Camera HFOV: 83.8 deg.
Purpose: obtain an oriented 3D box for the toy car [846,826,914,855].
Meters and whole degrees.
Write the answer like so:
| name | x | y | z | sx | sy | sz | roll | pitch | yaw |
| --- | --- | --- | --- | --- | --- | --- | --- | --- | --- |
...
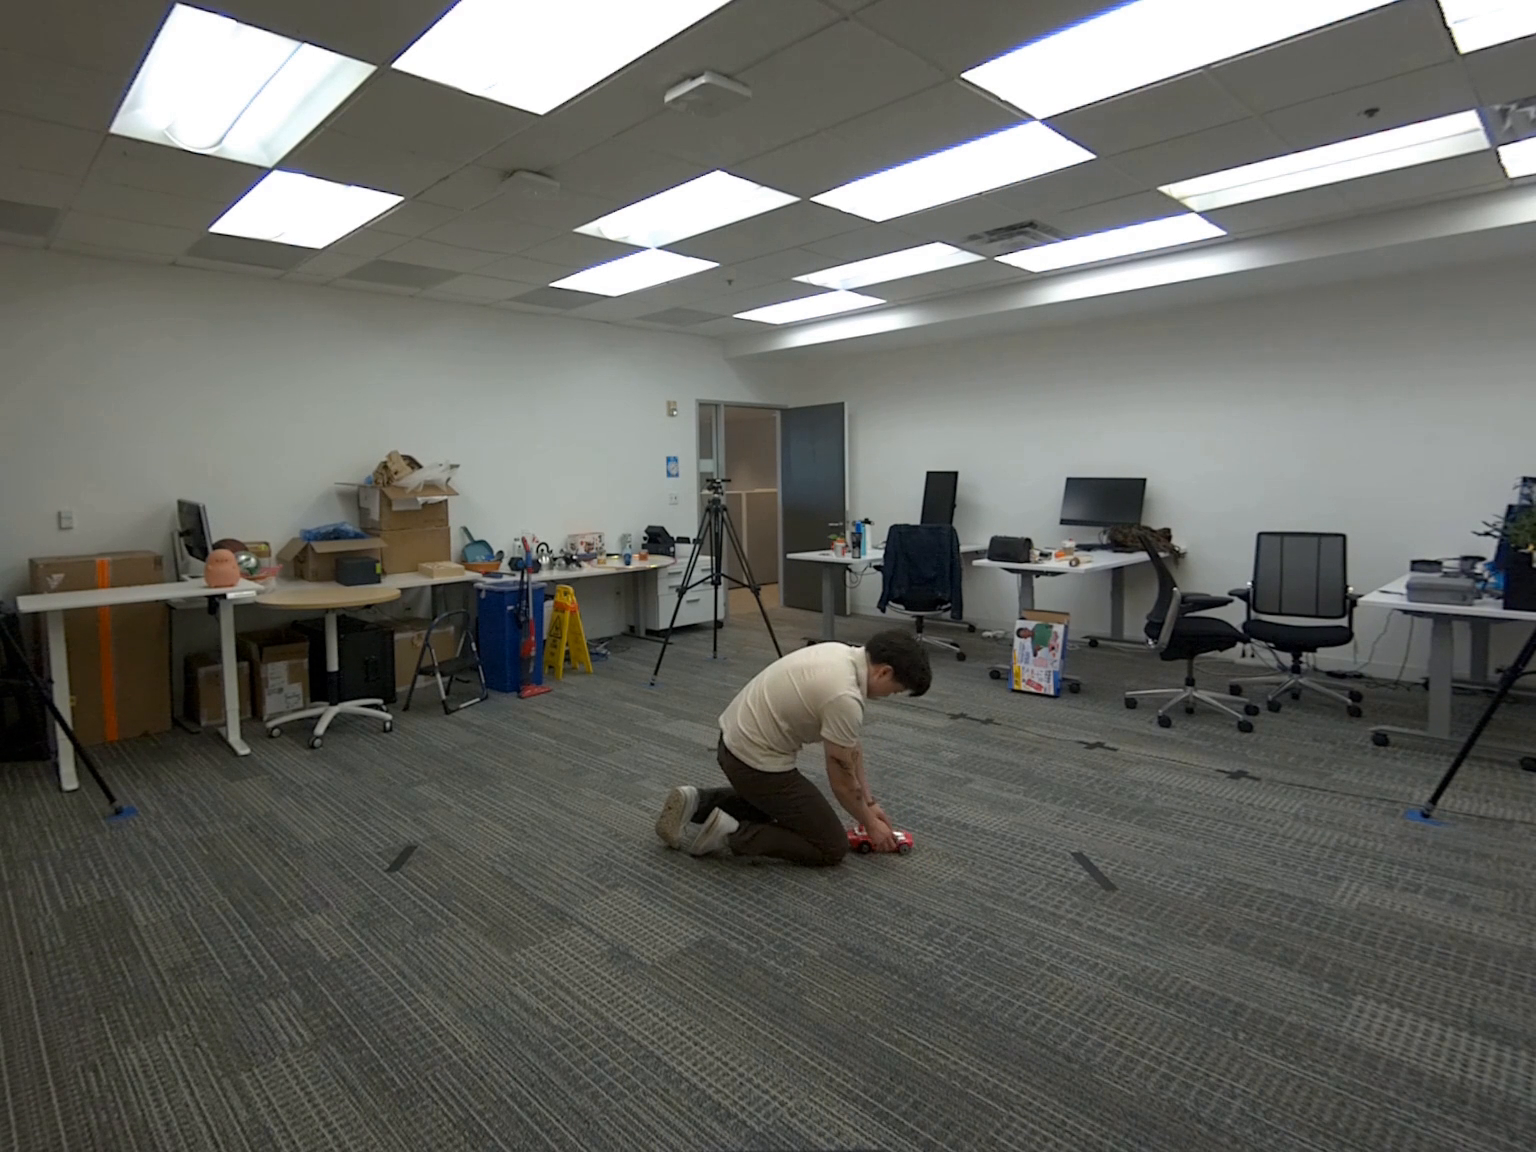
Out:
| name | x | y | z | sx | sy | sz | roll | pitch | yaw |
| --- | --- | --- | --- | --- | --- | --- | --- | --- | --- |
| toy car | 0.410 | 0.990 | 3.206 | 0.256 | 0.083 | 0.130 | 11 | 6 | 3 |
